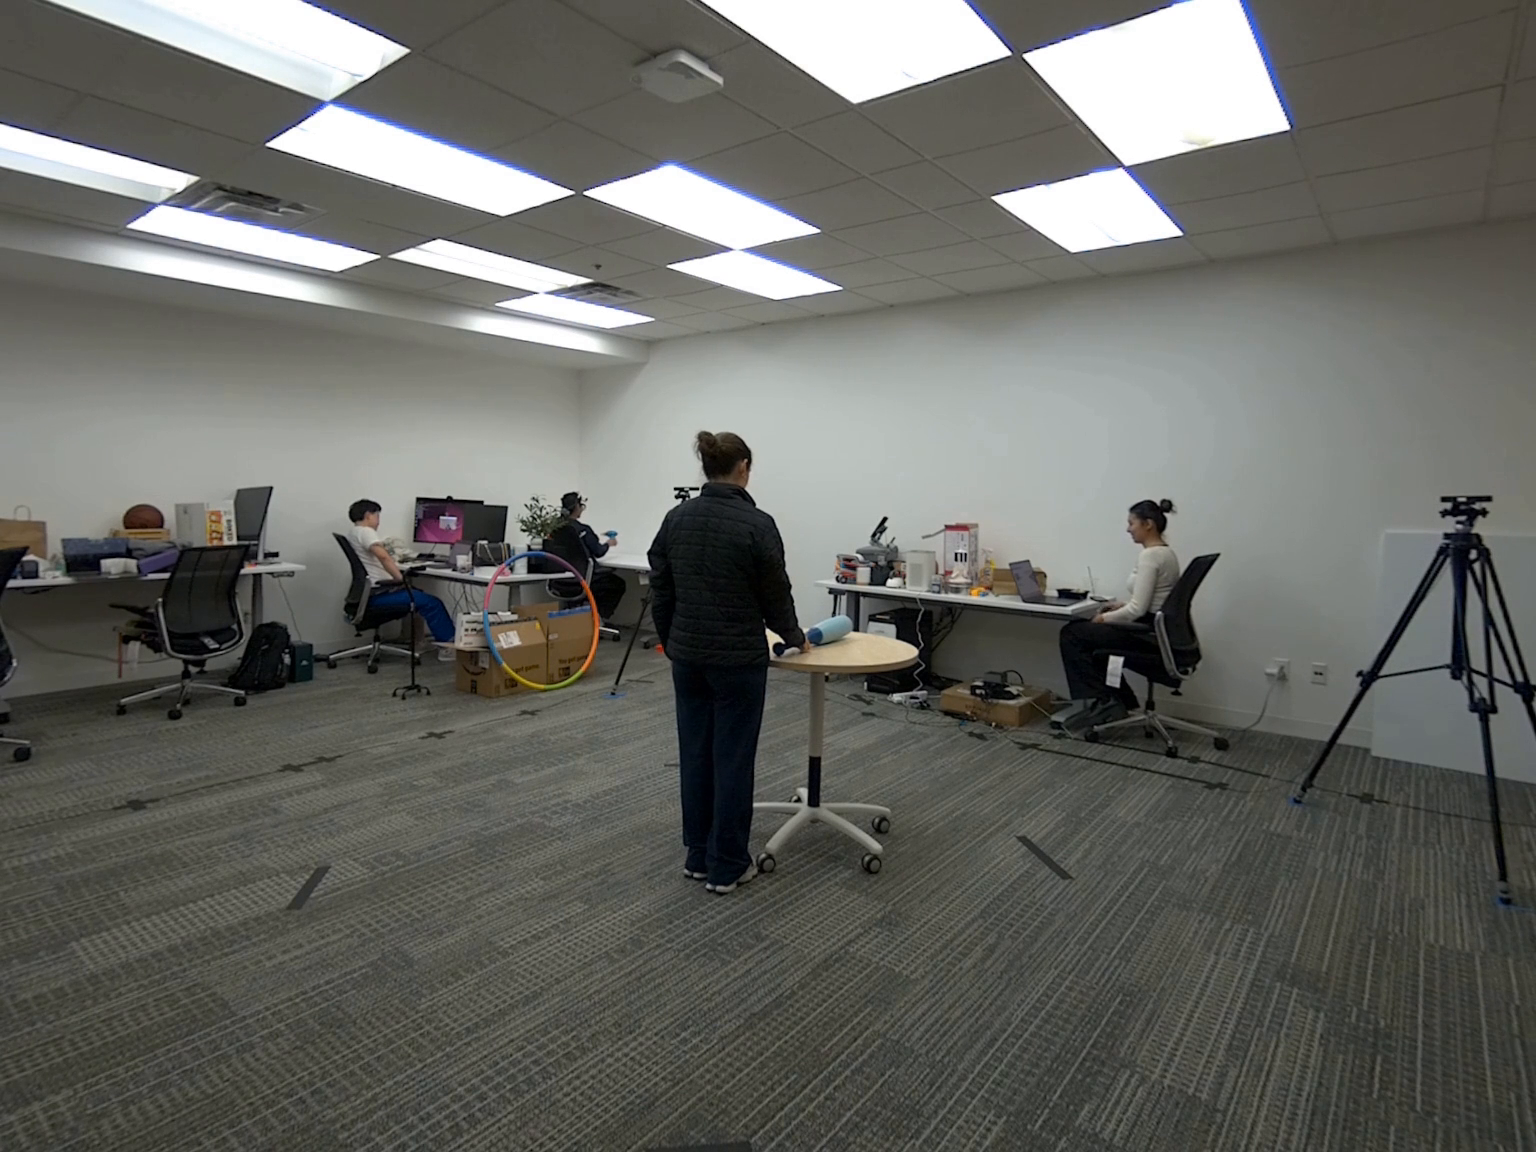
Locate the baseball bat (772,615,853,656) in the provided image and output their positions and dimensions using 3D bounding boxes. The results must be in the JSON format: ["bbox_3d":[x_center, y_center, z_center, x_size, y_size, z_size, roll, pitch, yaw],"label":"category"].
[{"bbox_3d":[0.192,0.232,3.321,0.092,0.088,0.529,4,9,35],"label":"baseball bat"}]
